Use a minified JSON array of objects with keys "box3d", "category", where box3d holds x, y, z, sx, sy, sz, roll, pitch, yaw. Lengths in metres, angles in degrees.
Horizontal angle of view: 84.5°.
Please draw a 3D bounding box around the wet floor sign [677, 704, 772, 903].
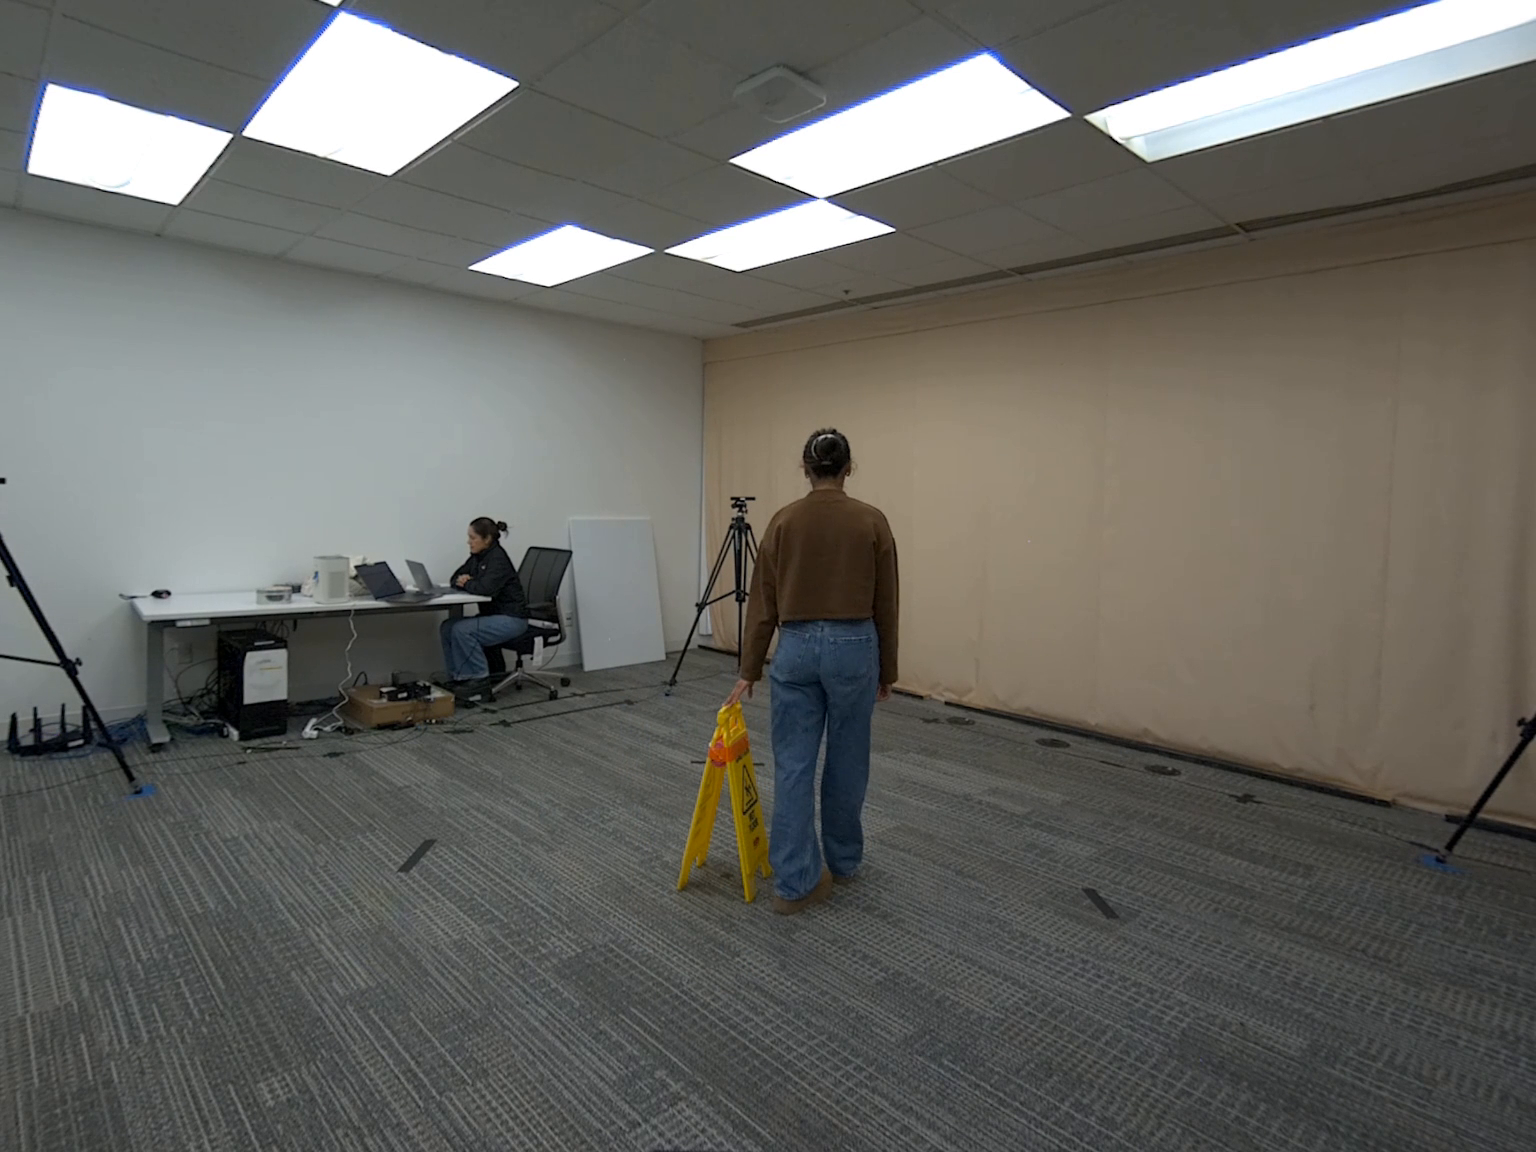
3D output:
[{"box3d":[-0.148,0.785,3.043,0.294,0.644,0.279,3,4,16],"category":"wet floor sign"}]
